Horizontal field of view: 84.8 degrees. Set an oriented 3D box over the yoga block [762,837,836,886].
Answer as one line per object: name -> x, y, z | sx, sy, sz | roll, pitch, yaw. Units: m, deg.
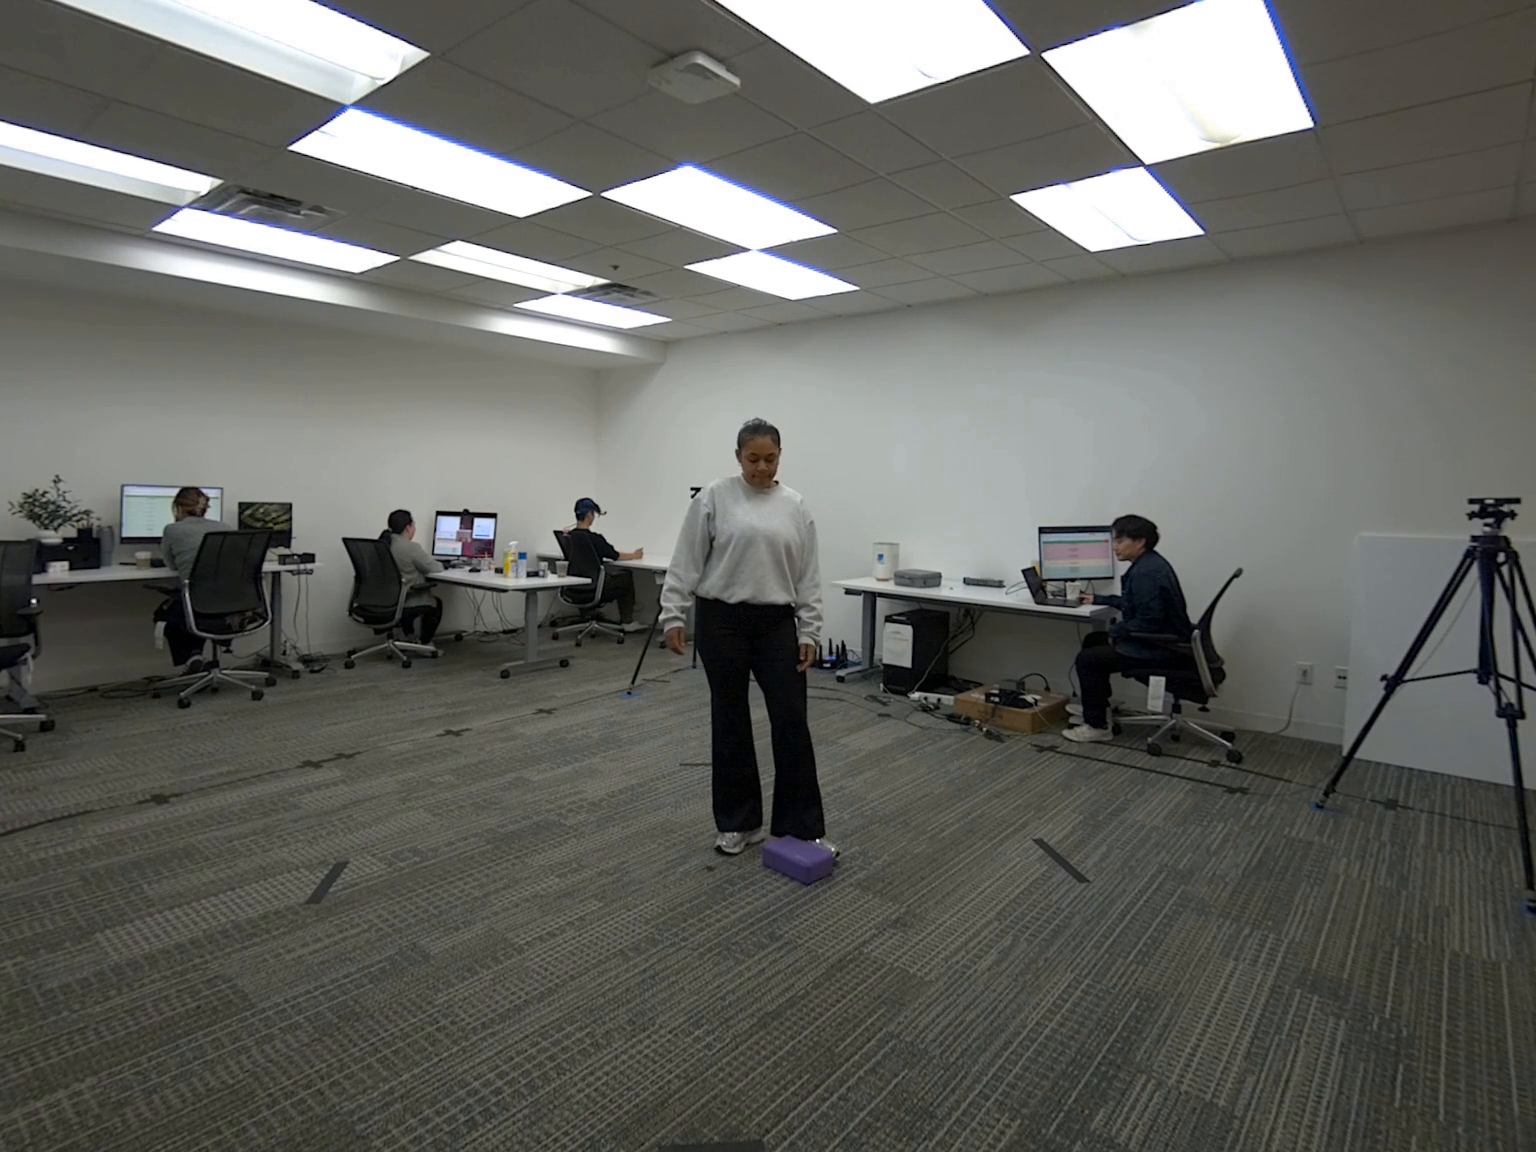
yoga block -> 0.098, 1.032, 3.138 | 0.237, 0.076, 0.145 | 8, 10, 42
